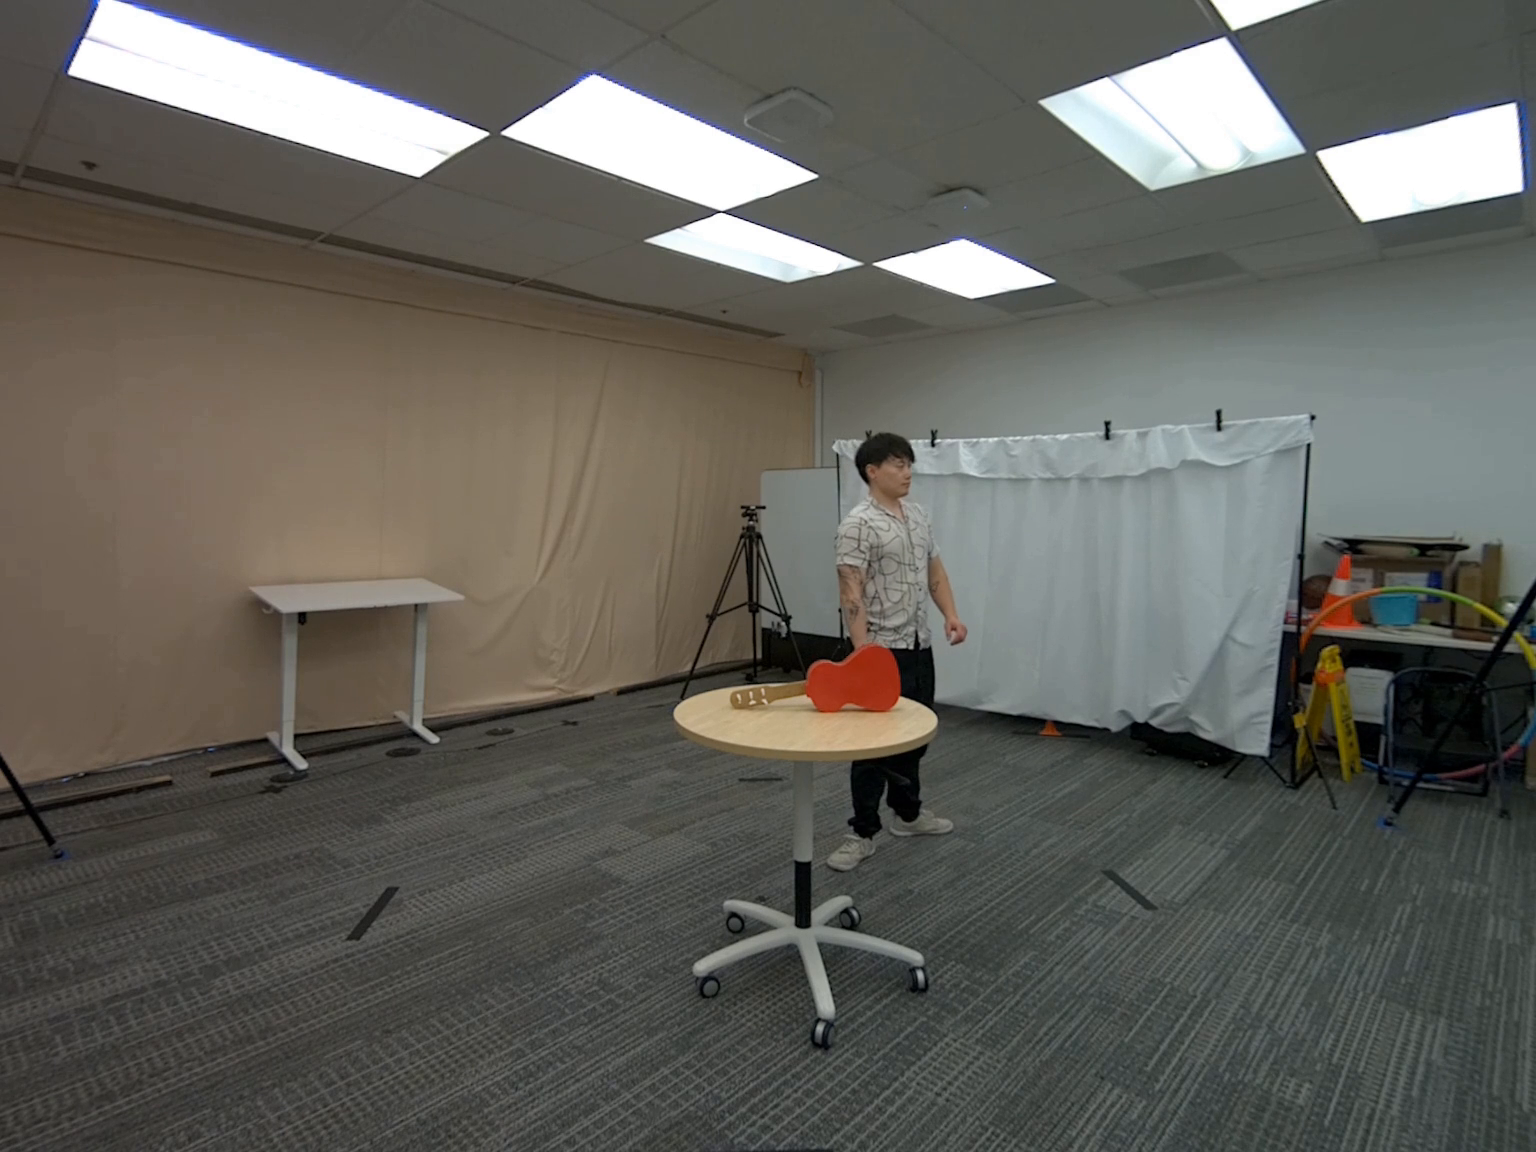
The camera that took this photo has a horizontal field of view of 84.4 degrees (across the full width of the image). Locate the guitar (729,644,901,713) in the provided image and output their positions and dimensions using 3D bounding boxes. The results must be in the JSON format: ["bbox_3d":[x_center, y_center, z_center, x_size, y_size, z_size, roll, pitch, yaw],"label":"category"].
[{"bbox_3d":[0.152,0.360,2.501,0.498,0.192,0.071,-19,4,1],"label":"guitar"}]
